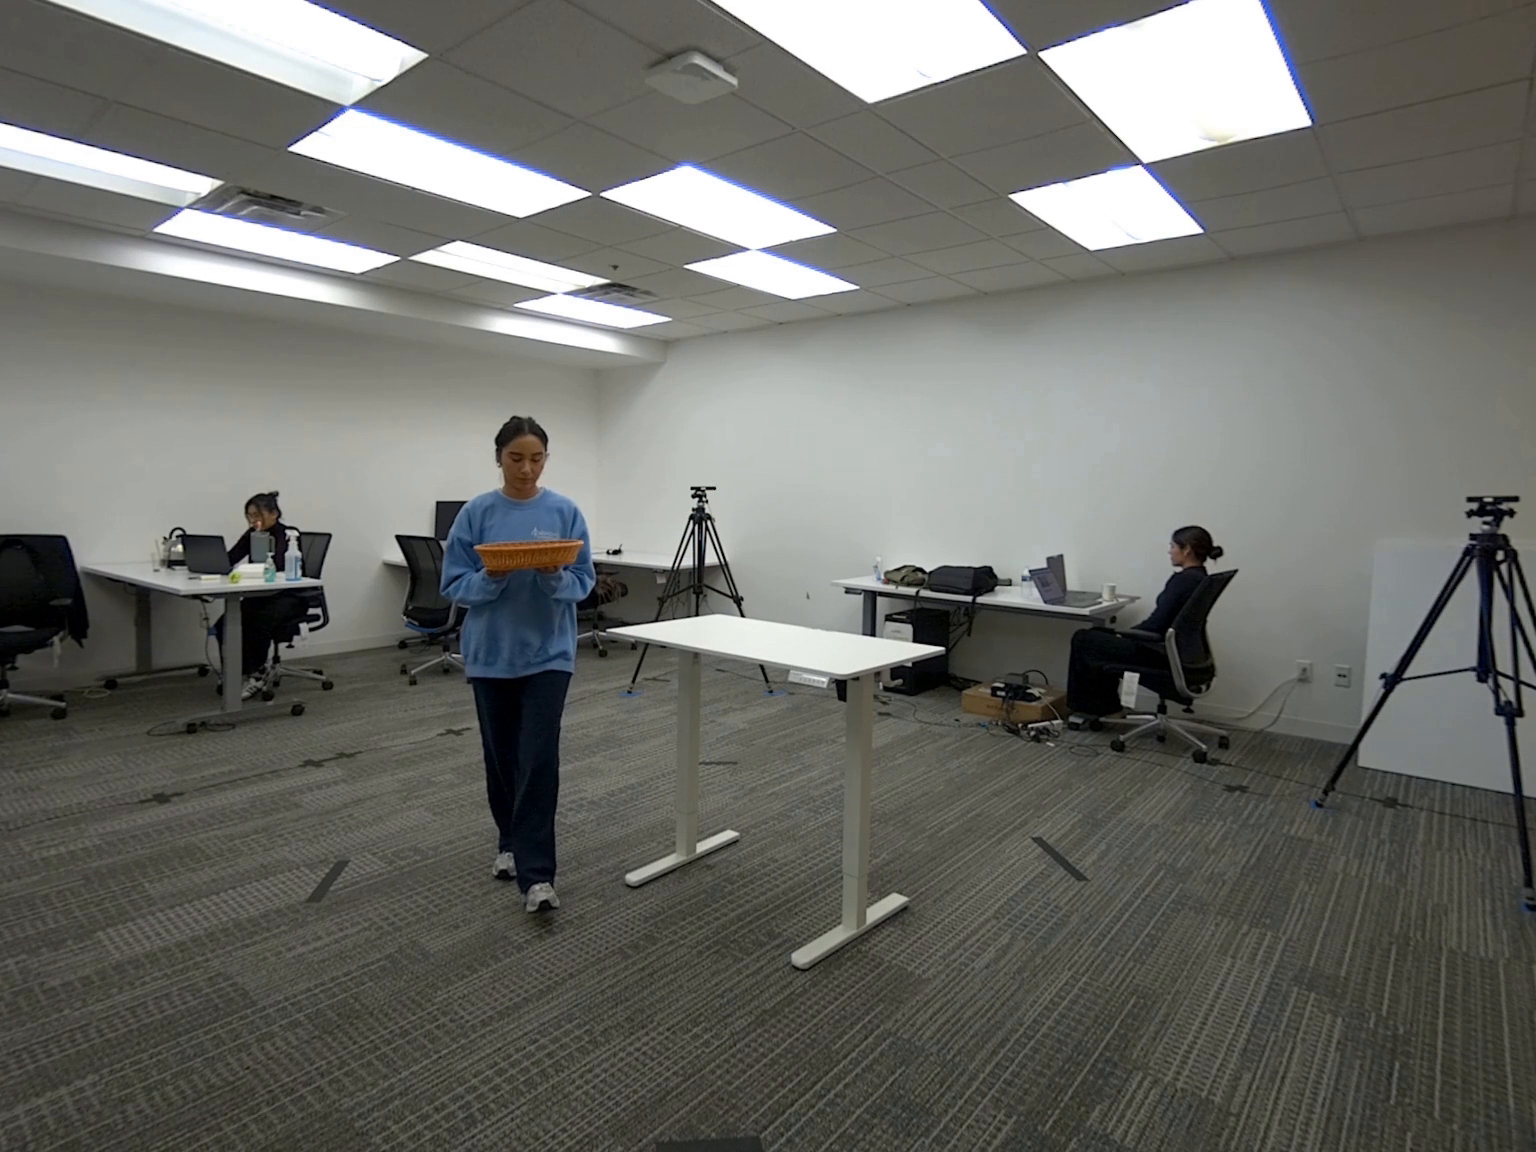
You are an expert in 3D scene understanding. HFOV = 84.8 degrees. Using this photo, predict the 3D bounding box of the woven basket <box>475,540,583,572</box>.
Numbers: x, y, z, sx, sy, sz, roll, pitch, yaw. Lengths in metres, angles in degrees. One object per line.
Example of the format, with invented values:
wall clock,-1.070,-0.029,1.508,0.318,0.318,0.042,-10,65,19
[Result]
woven basket,-0.790,-0.069,2.723,0.342,0.073,0.260,-4,6,-28
